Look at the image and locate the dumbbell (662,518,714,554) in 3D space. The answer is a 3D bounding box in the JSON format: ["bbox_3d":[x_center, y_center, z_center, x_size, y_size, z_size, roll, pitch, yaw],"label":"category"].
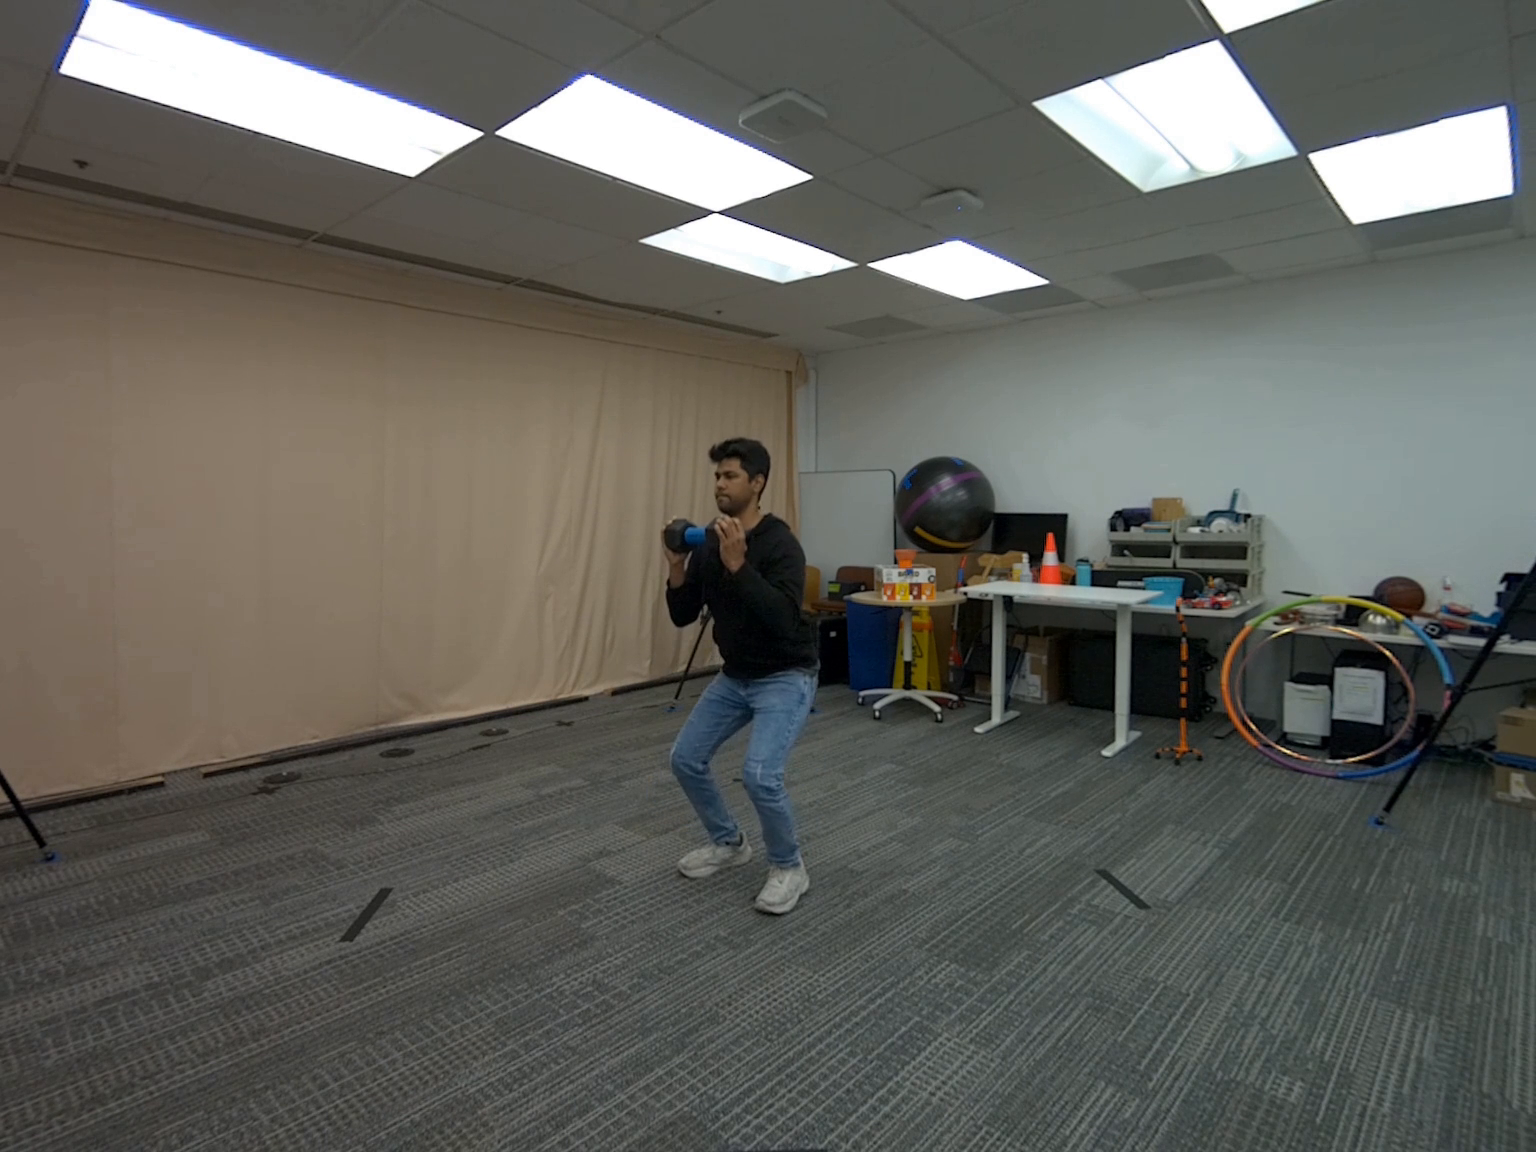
[{"bbox_3d":[-0.218,-0.129,2.894,0.105,0.122,0.303,-9,9,-43],"label":"dumbbell"}]
